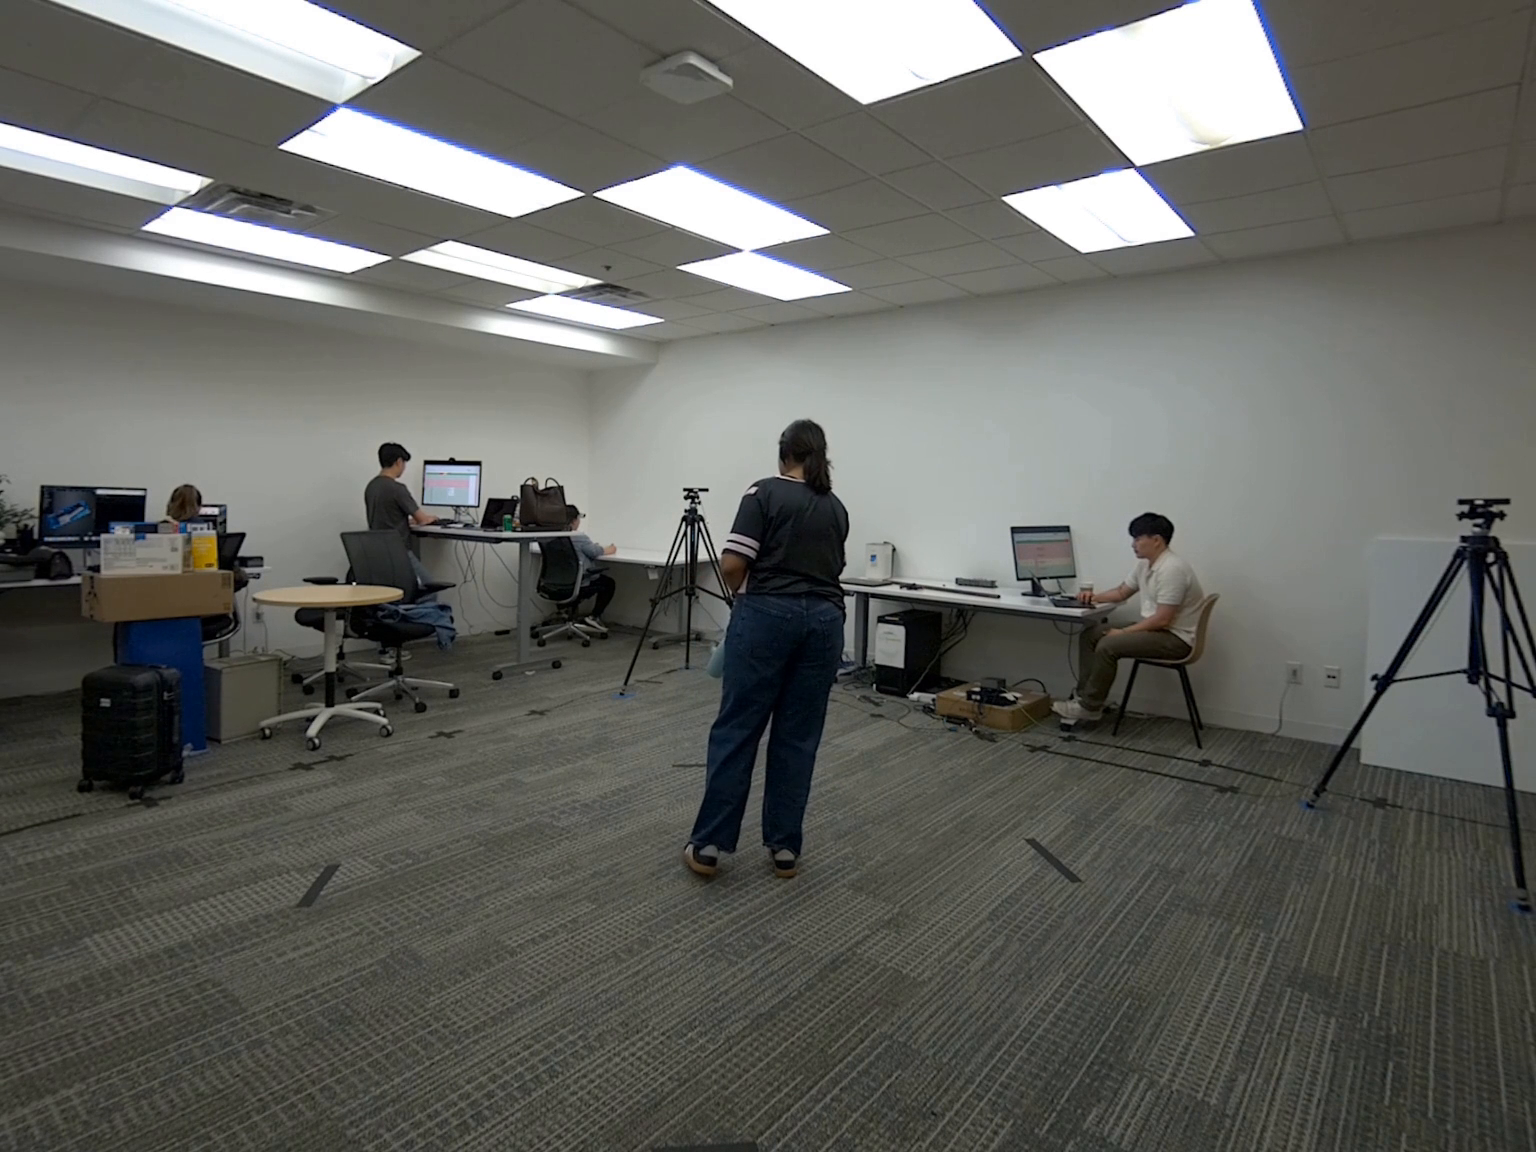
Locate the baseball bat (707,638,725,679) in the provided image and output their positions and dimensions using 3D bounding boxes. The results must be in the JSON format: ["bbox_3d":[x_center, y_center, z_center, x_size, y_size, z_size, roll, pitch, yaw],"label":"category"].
[{"bbox_3d":[-0.161,0.260,3.456,0.087,0.092,0.537,0,-33,-21],"label":"baseball bat"}]
